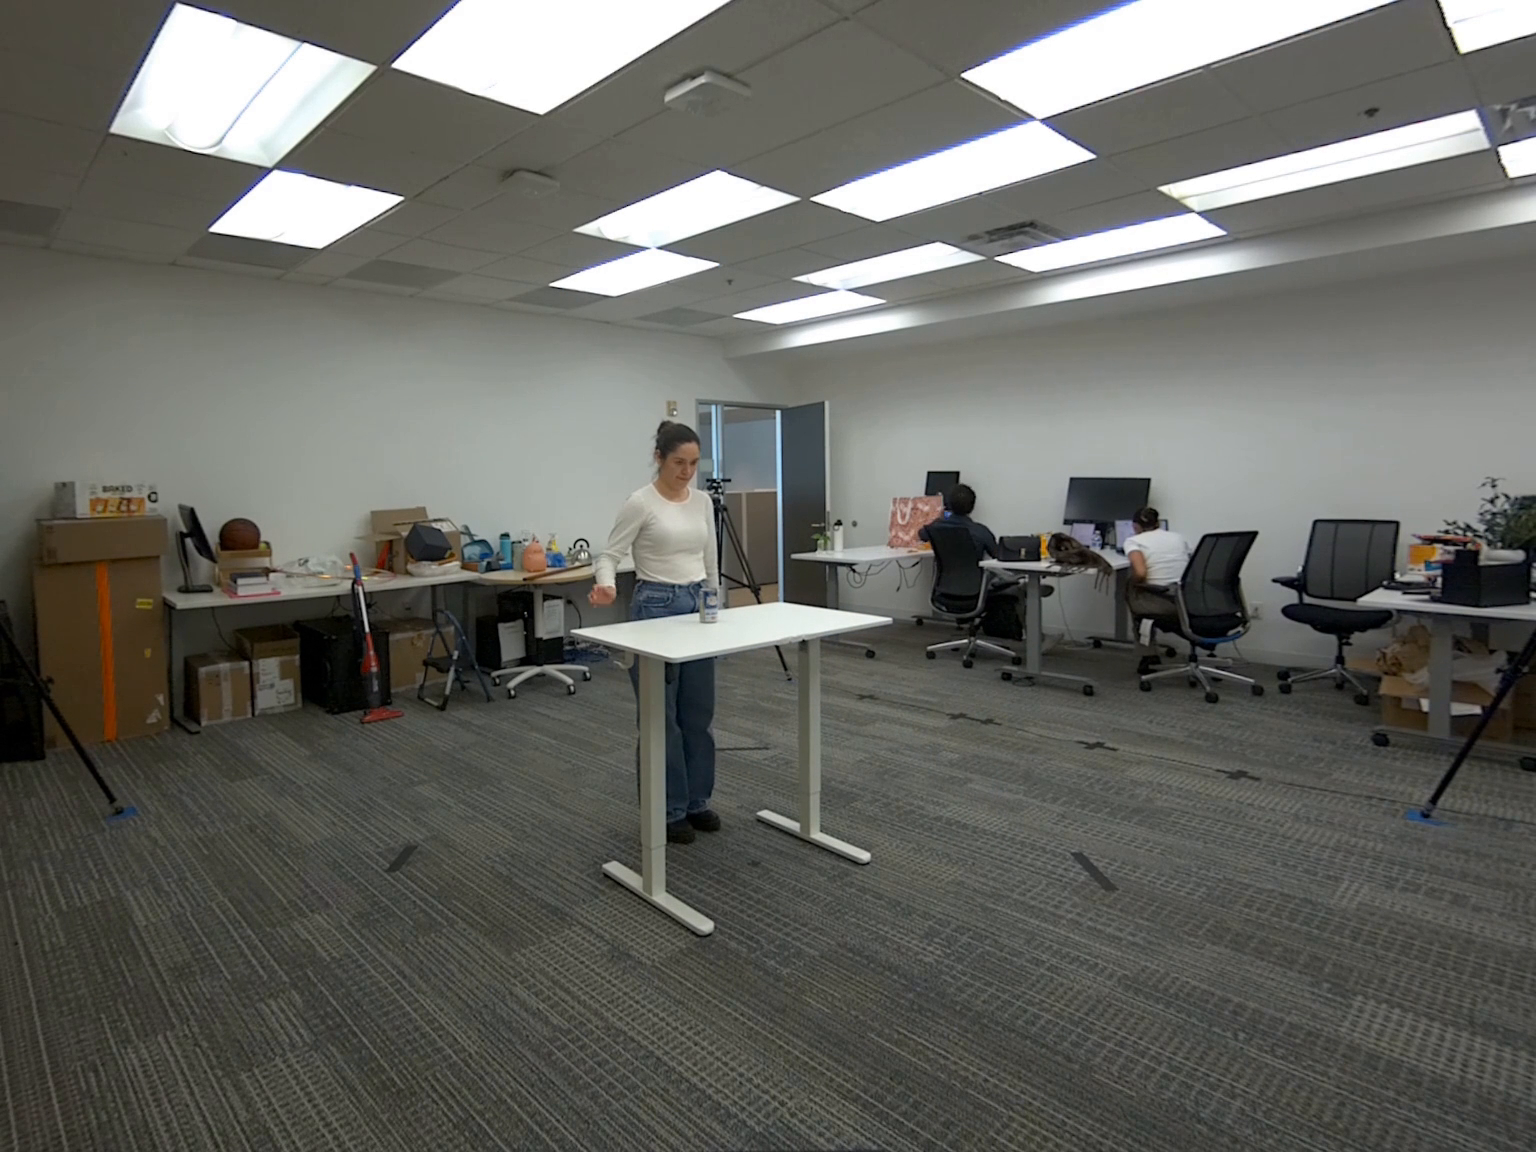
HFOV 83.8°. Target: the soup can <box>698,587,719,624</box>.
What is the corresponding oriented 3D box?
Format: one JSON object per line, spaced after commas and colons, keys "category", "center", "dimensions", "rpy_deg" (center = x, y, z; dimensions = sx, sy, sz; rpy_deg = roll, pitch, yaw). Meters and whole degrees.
{"category": "soup can", "center": [-0.225, 0.109, 3.088], "dimensions": [0.067, 0.121, 0.067], "rpy_deg": [0, 2, -2]}
